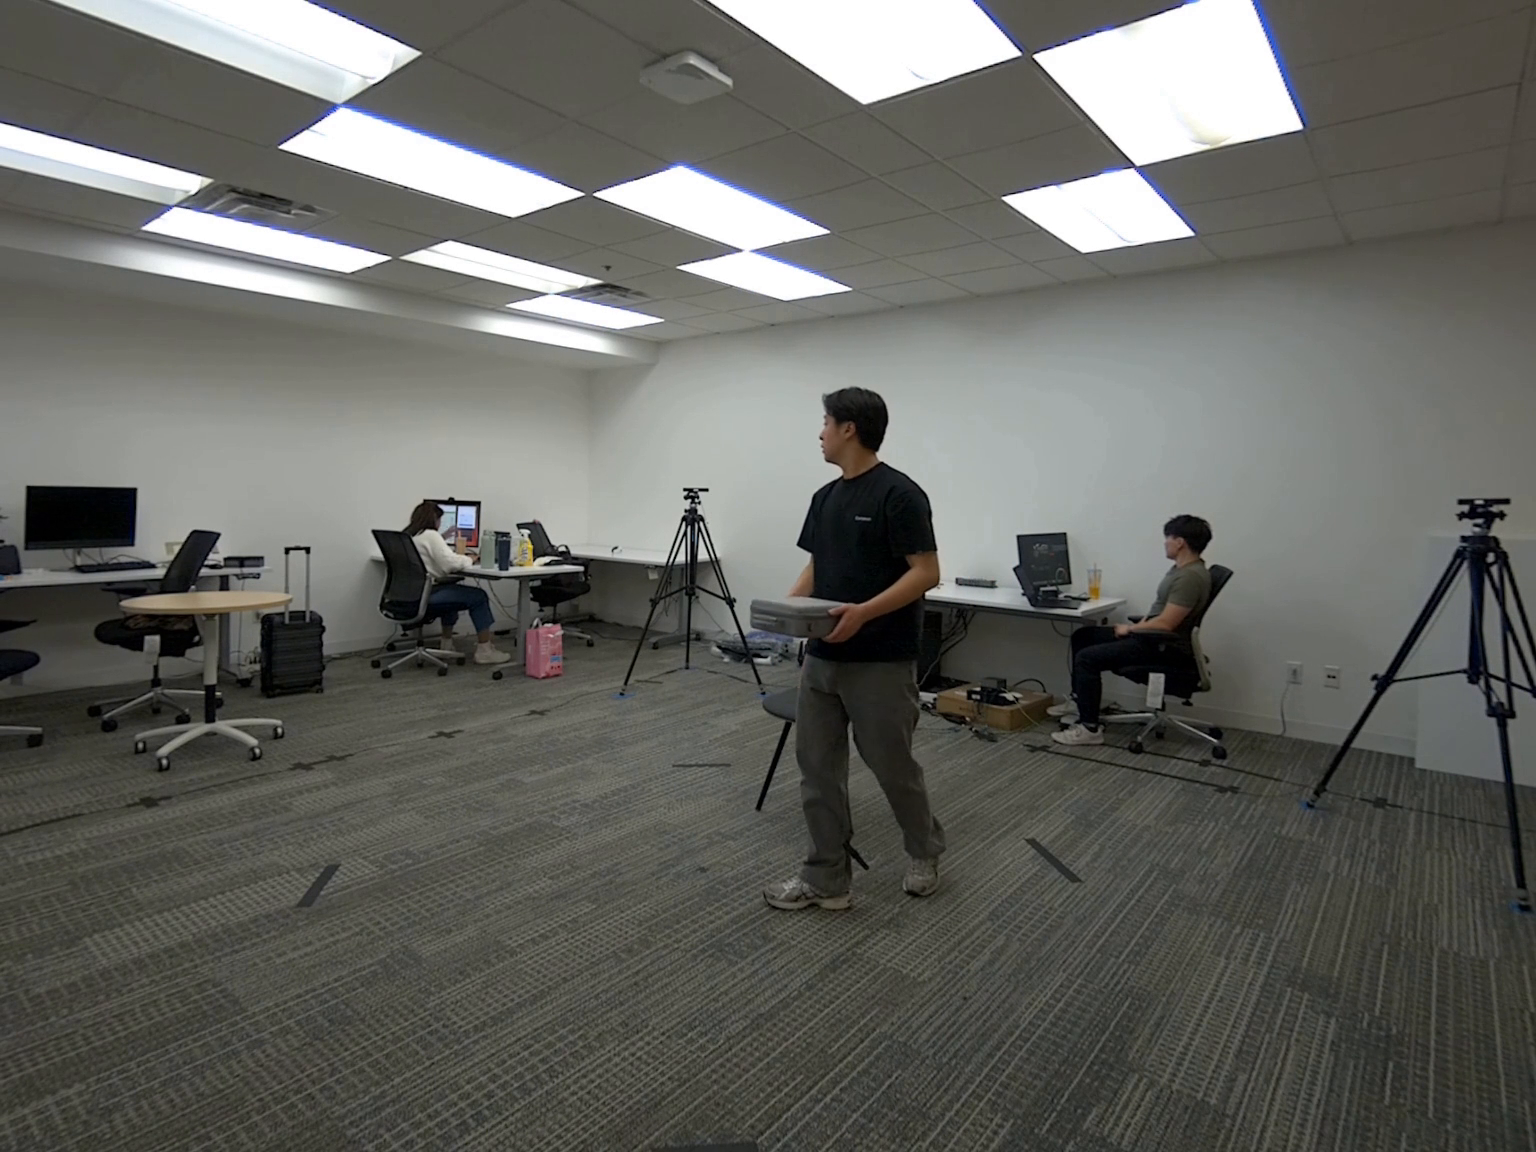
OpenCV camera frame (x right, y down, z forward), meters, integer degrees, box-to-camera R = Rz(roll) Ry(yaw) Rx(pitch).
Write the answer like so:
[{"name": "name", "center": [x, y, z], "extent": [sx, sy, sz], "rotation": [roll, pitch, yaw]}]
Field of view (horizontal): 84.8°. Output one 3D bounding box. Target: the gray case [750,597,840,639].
[{"name": "gray case", "center": [0.096, 0.125, 2.695], "extent": [0.279, 0.103, 0.271], "rotation": [-1, 3, -31]}]
